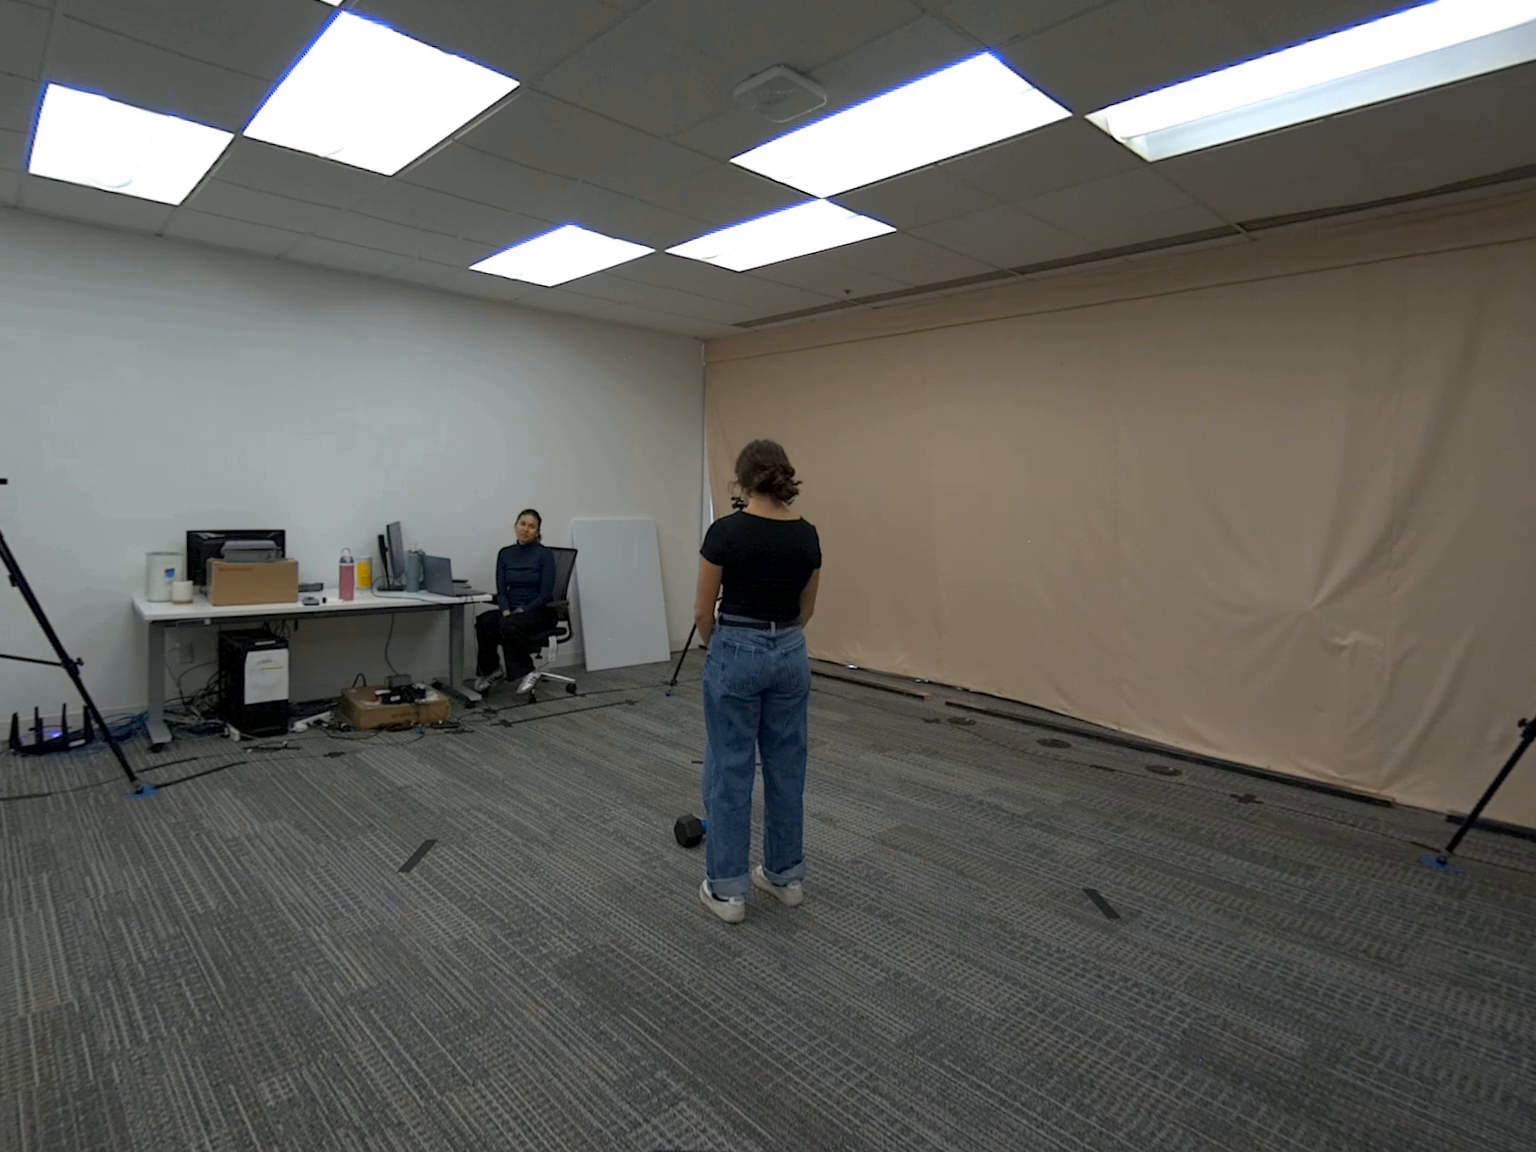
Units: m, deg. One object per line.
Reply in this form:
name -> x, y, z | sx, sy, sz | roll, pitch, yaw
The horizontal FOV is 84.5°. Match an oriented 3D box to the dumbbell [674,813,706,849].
dumbbell -> -0.245, 1.022, 3.444 | 0.287, 0.125, 0.109 | -2, -25, -39
